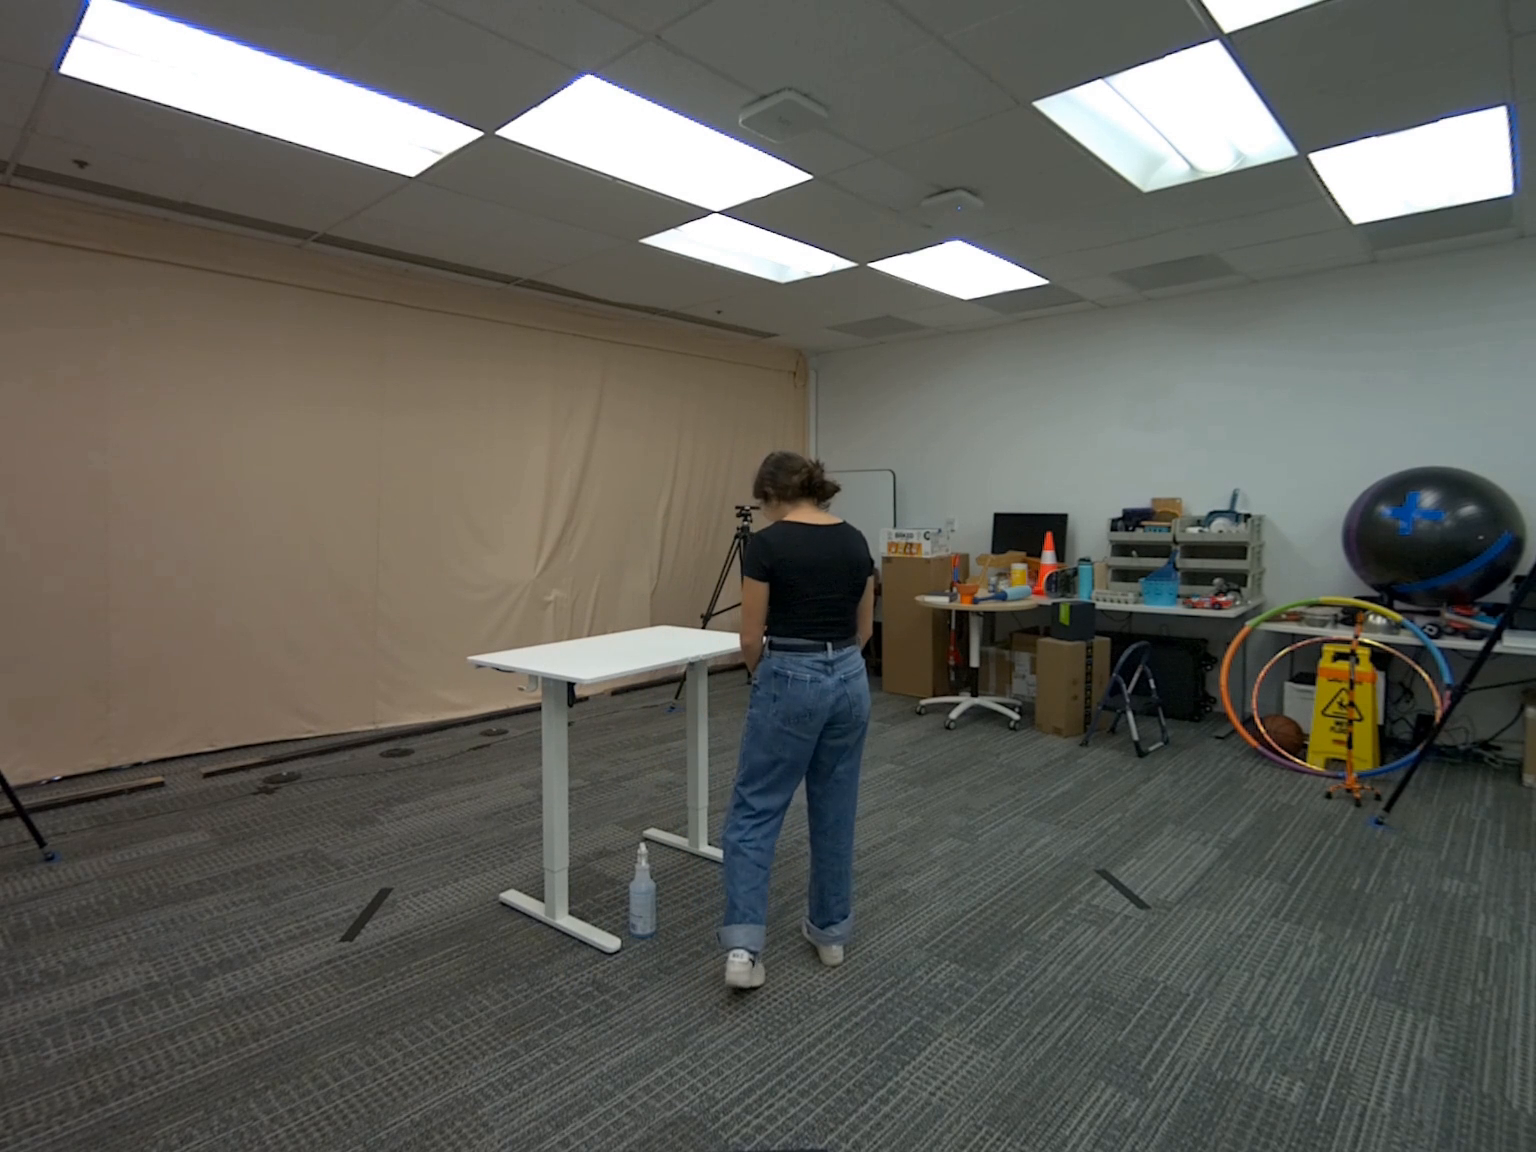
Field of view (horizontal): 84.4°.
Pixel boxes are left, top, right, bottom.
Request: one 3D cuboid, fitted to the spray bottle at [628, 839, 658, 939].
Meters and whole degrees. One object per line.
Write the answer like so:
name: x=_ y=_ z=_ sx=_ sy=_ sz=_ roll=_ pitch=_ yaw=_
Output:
spray bottle: x=-0.414 y=1.031 z=2.733 sx=0.089 sy=0.296 sz=0.089 roll=2 pitch=8 yaw=18
